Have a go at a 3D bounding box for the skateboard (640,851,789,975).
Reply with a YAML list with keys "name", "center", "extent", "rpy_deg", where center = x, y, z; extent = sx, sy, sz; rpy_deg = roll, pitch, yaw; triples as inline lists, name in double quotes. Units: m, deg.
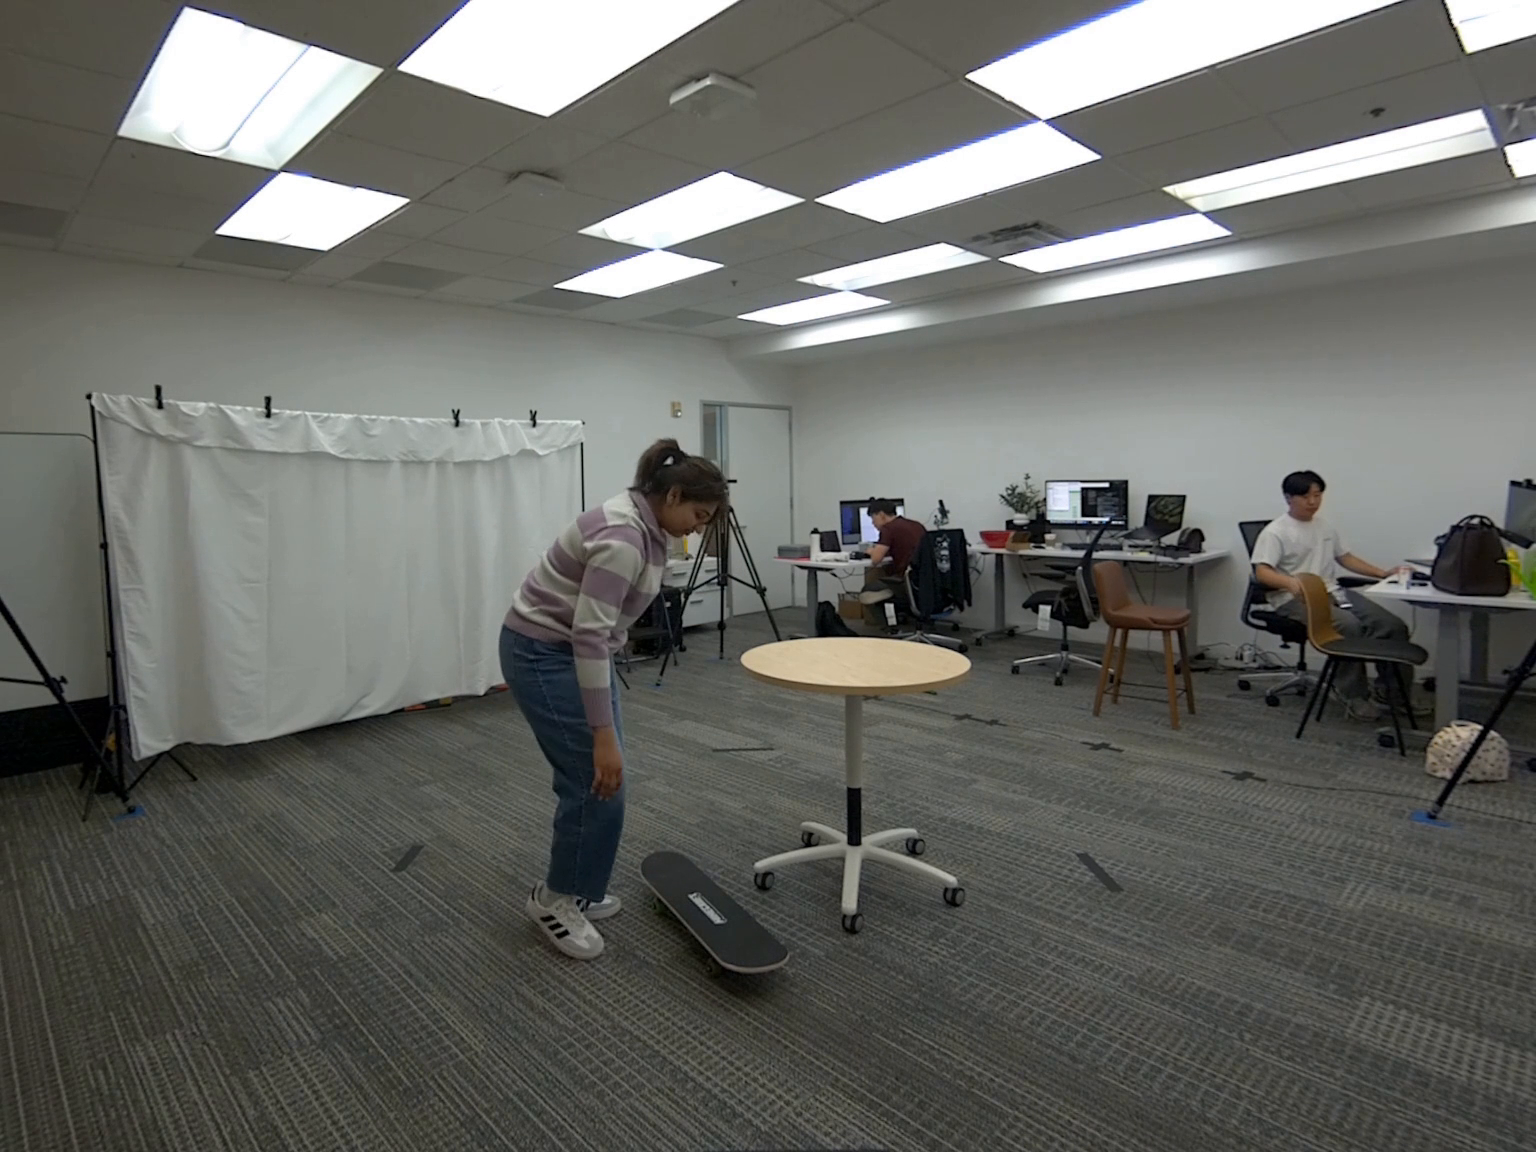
- name: "skateboard"
  center: [-0.176, 1.056, 2.616]
  extent: [0.189, 0.110, 0.807]
  rpy_deg: [-4, 8, -29]
